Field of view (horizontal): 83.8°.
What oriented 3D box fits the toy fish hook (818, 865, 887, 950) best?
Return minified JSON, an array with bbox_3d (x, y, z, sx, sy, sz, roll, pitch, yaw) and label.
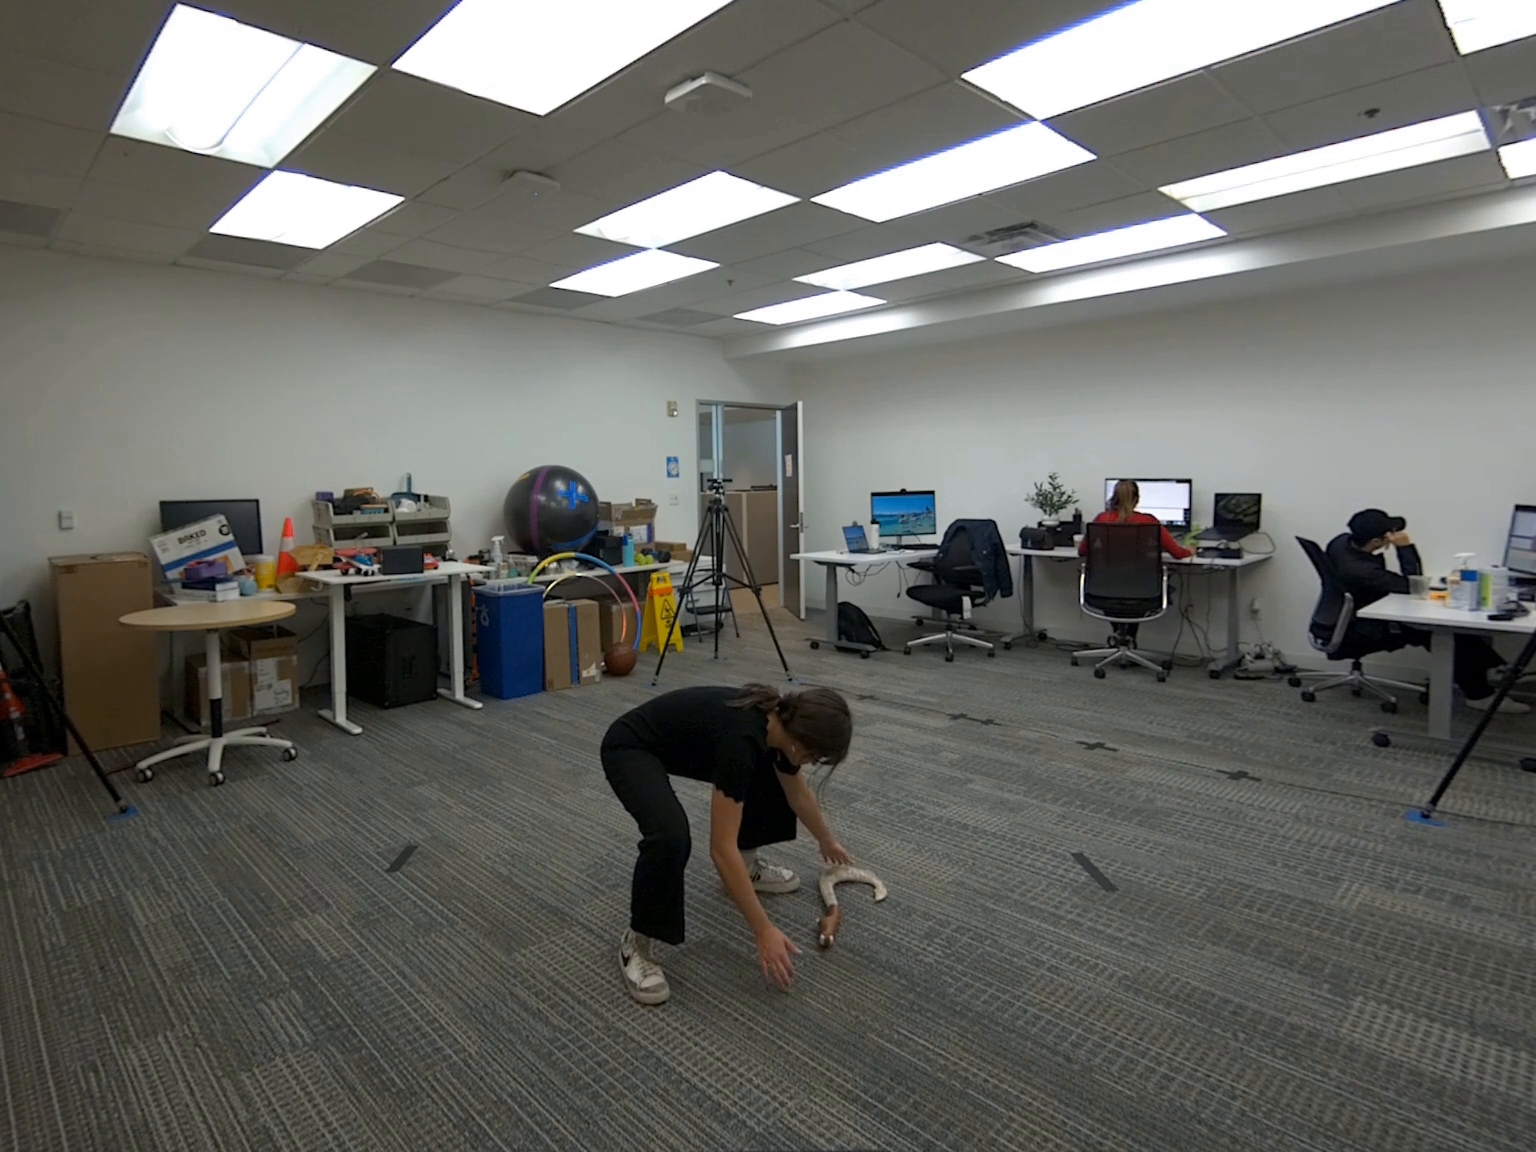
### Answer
[{"bbox_3d":[0.265,1.058,2.747,0.227,0.048,0.503,-2,6,10],"label":"toy fish hook"}]
